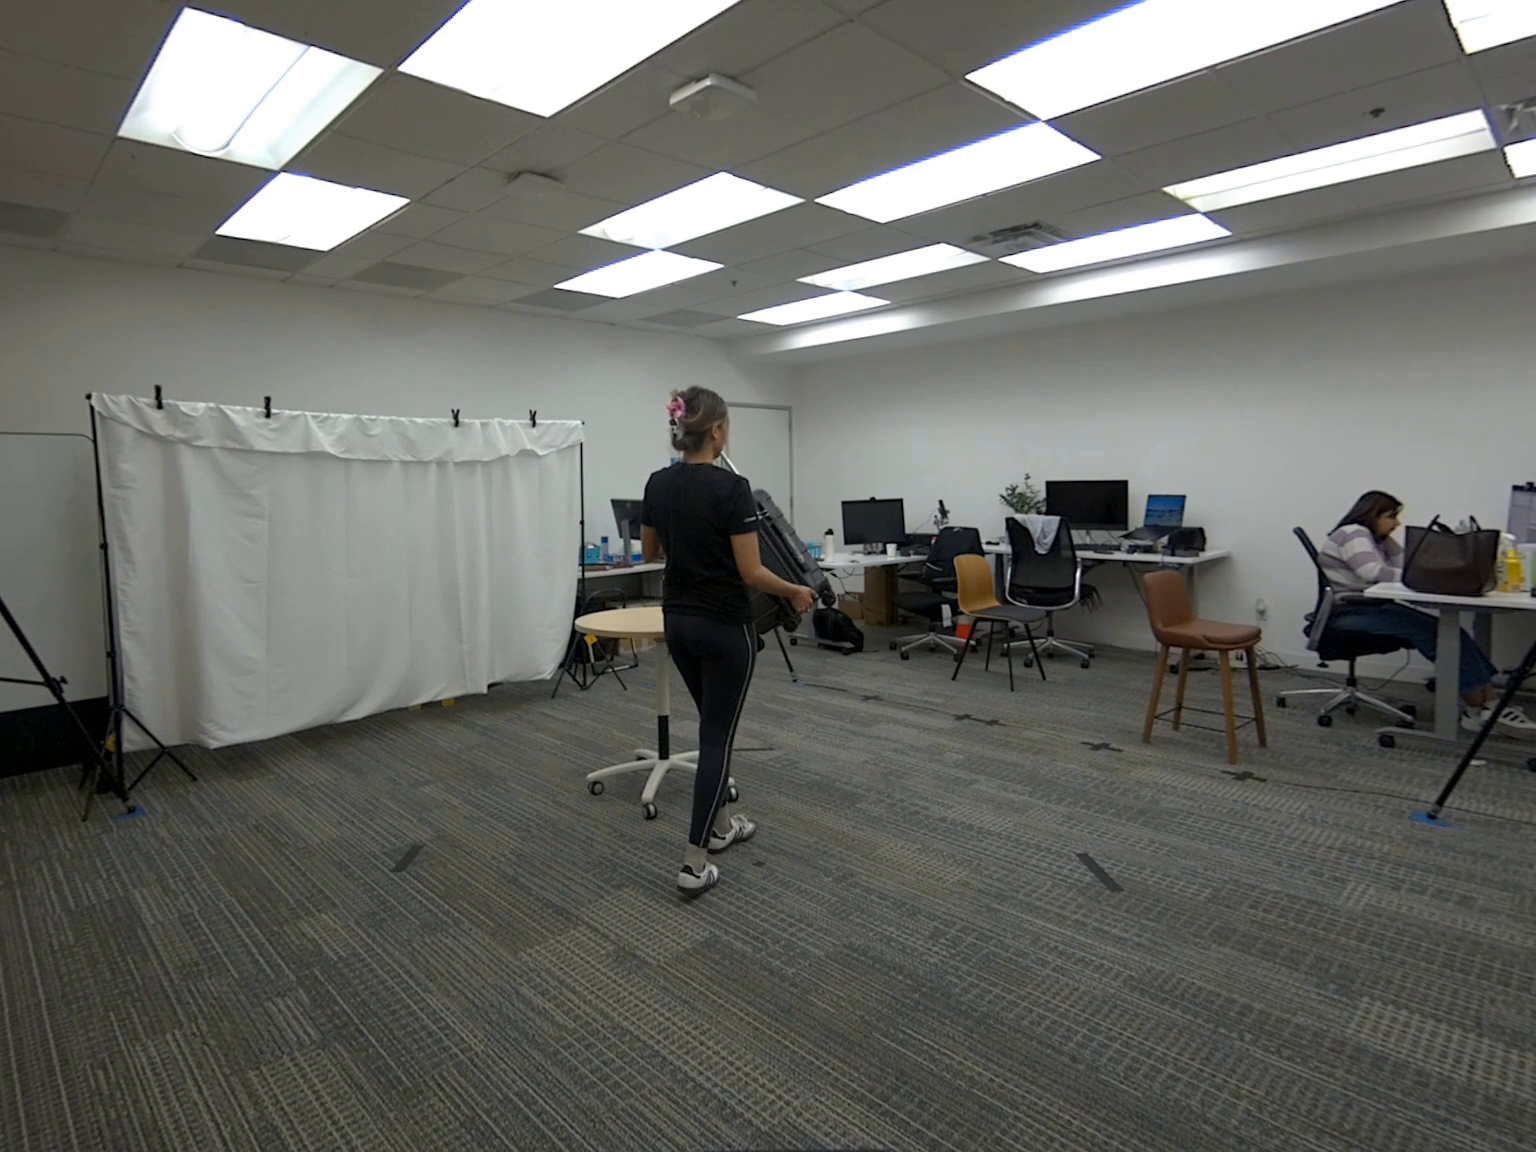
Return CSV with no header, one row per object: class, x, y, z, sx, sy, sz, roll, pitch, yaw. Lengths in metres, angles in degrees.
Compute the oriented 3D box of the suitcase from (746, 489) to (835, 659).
suitcase,-0.139,-0.223,3.322,0.255,0.983,0.385,-33,-3,-30
